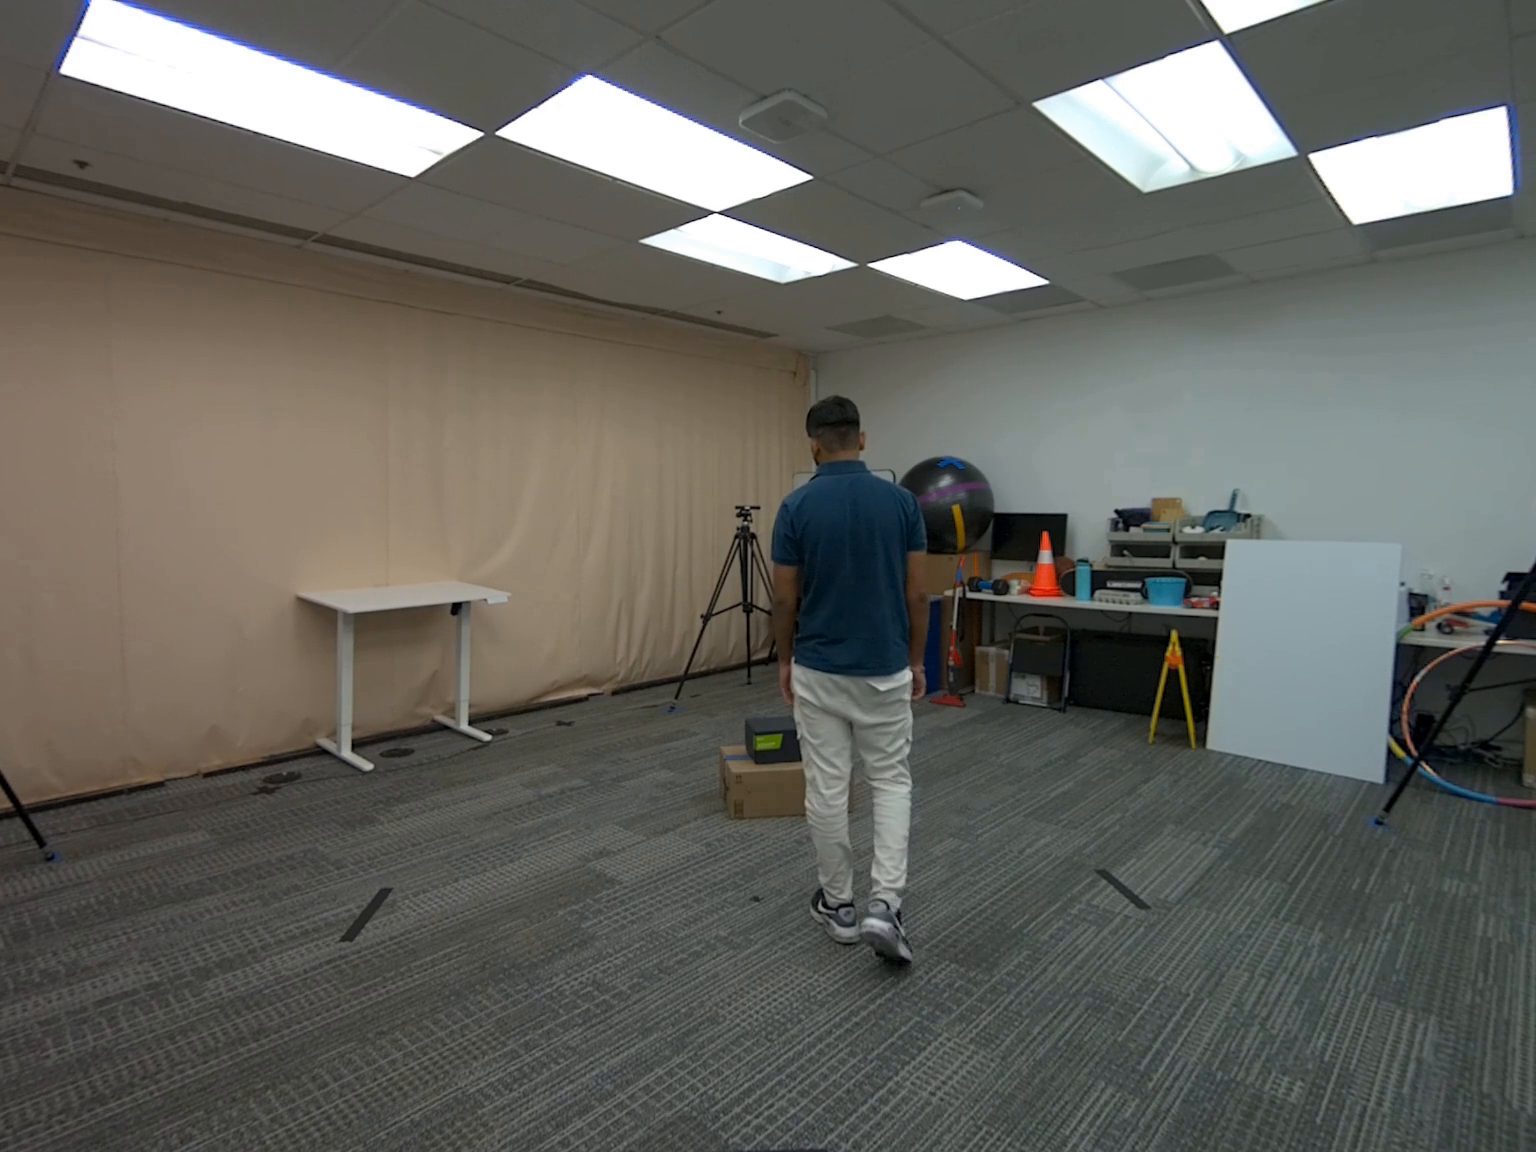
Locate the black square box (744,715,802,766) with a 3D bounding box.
[{"bbox_3d":[0.025,0.764,3.956,0.225,0.155,0.220,-2,6,-12],"label":"black square box"}]
